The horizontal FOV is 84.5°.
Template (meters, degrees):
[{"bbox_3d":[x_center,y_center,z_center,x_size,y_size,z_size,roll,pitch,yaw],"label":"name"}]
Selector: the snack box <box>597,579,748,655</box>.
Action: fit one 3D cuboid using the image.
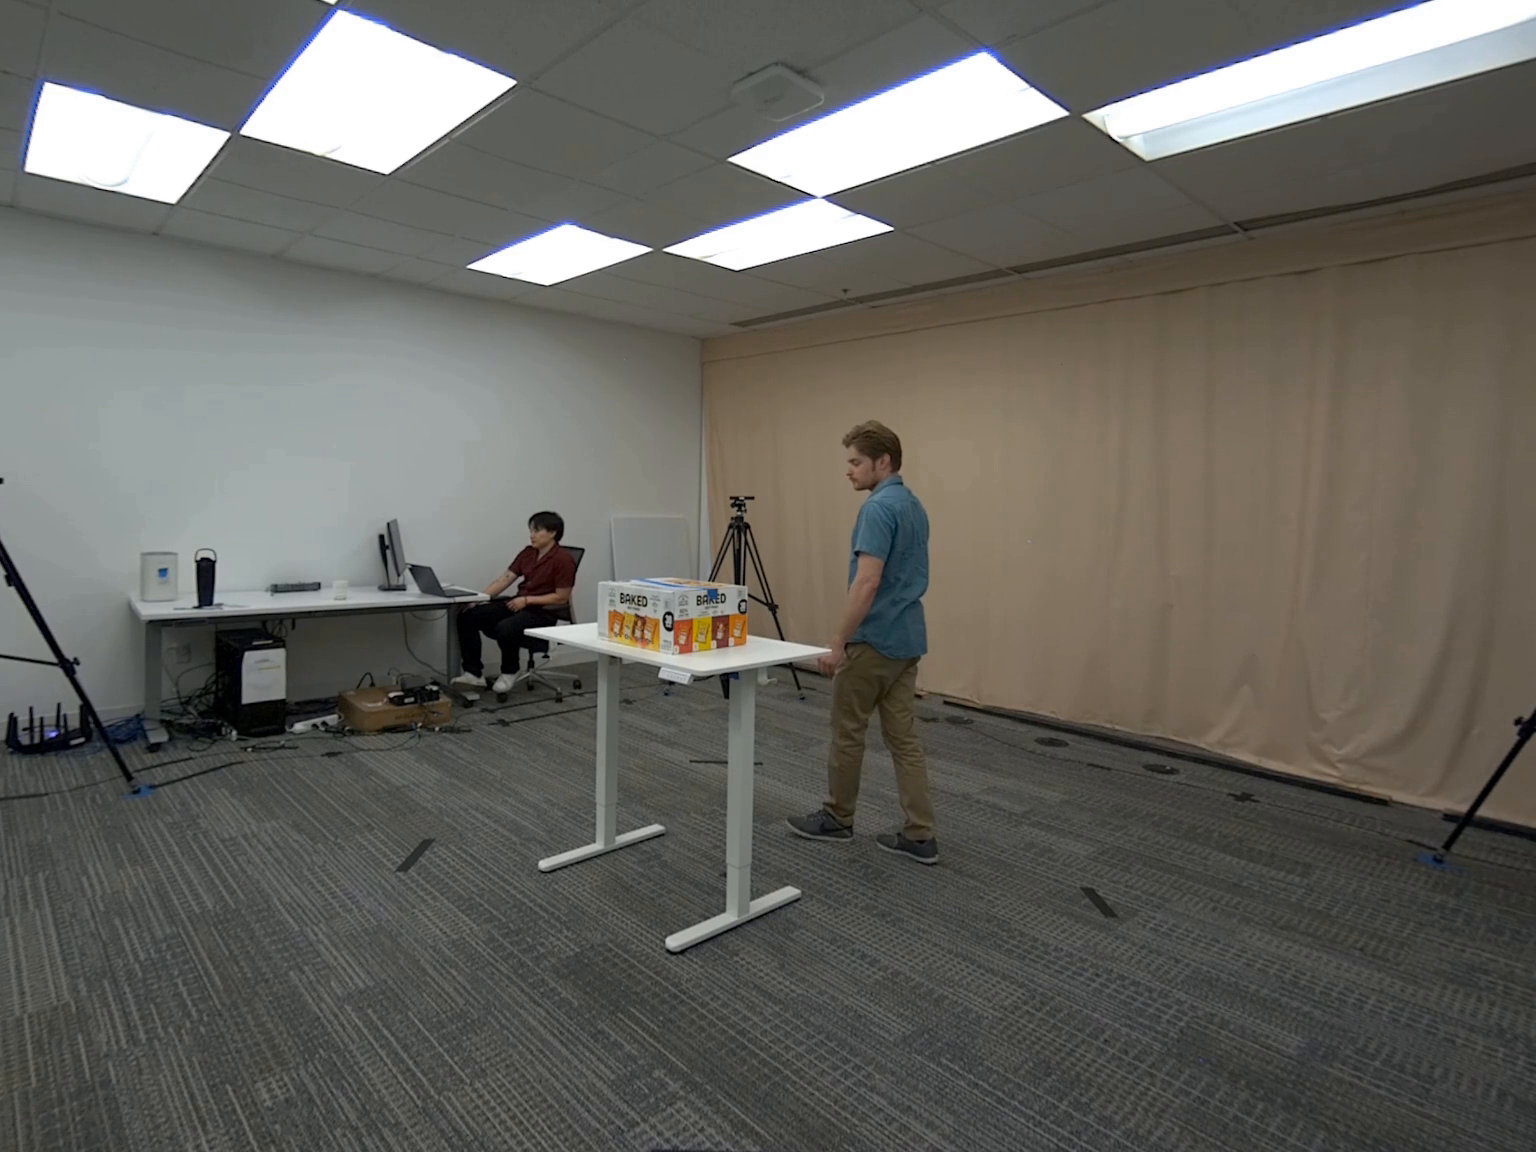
[{"bbox_3d":[-0.342,0.130,2.934,0.415,0.205,0.332,5,5,43],"label":"snack box"}]
